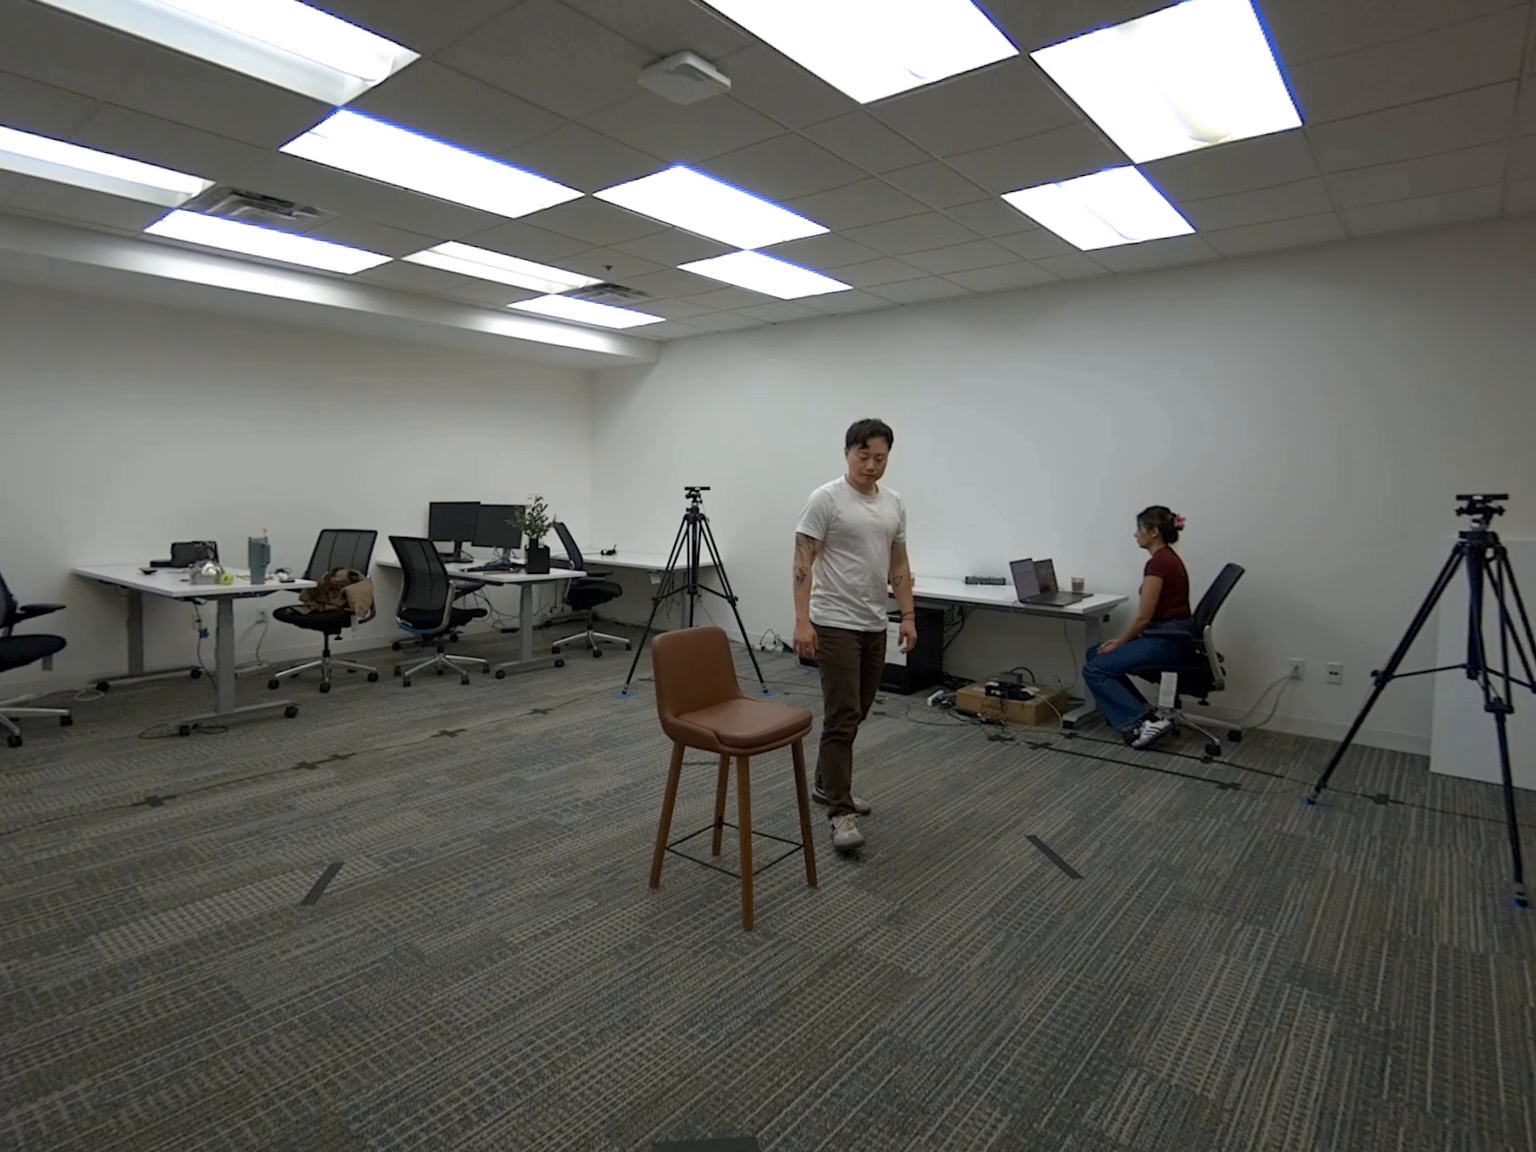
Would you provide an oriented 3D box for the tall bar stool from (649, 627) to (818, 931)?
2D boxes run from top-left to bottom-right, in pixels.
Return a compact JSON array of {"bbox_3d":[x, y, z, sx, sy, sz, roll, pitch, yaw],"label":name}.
[{"bbox_3d":[-0.130,0.647,2.943,0.482,0.888,0.443,1,2,37],"label":"tall bar stool"}]
